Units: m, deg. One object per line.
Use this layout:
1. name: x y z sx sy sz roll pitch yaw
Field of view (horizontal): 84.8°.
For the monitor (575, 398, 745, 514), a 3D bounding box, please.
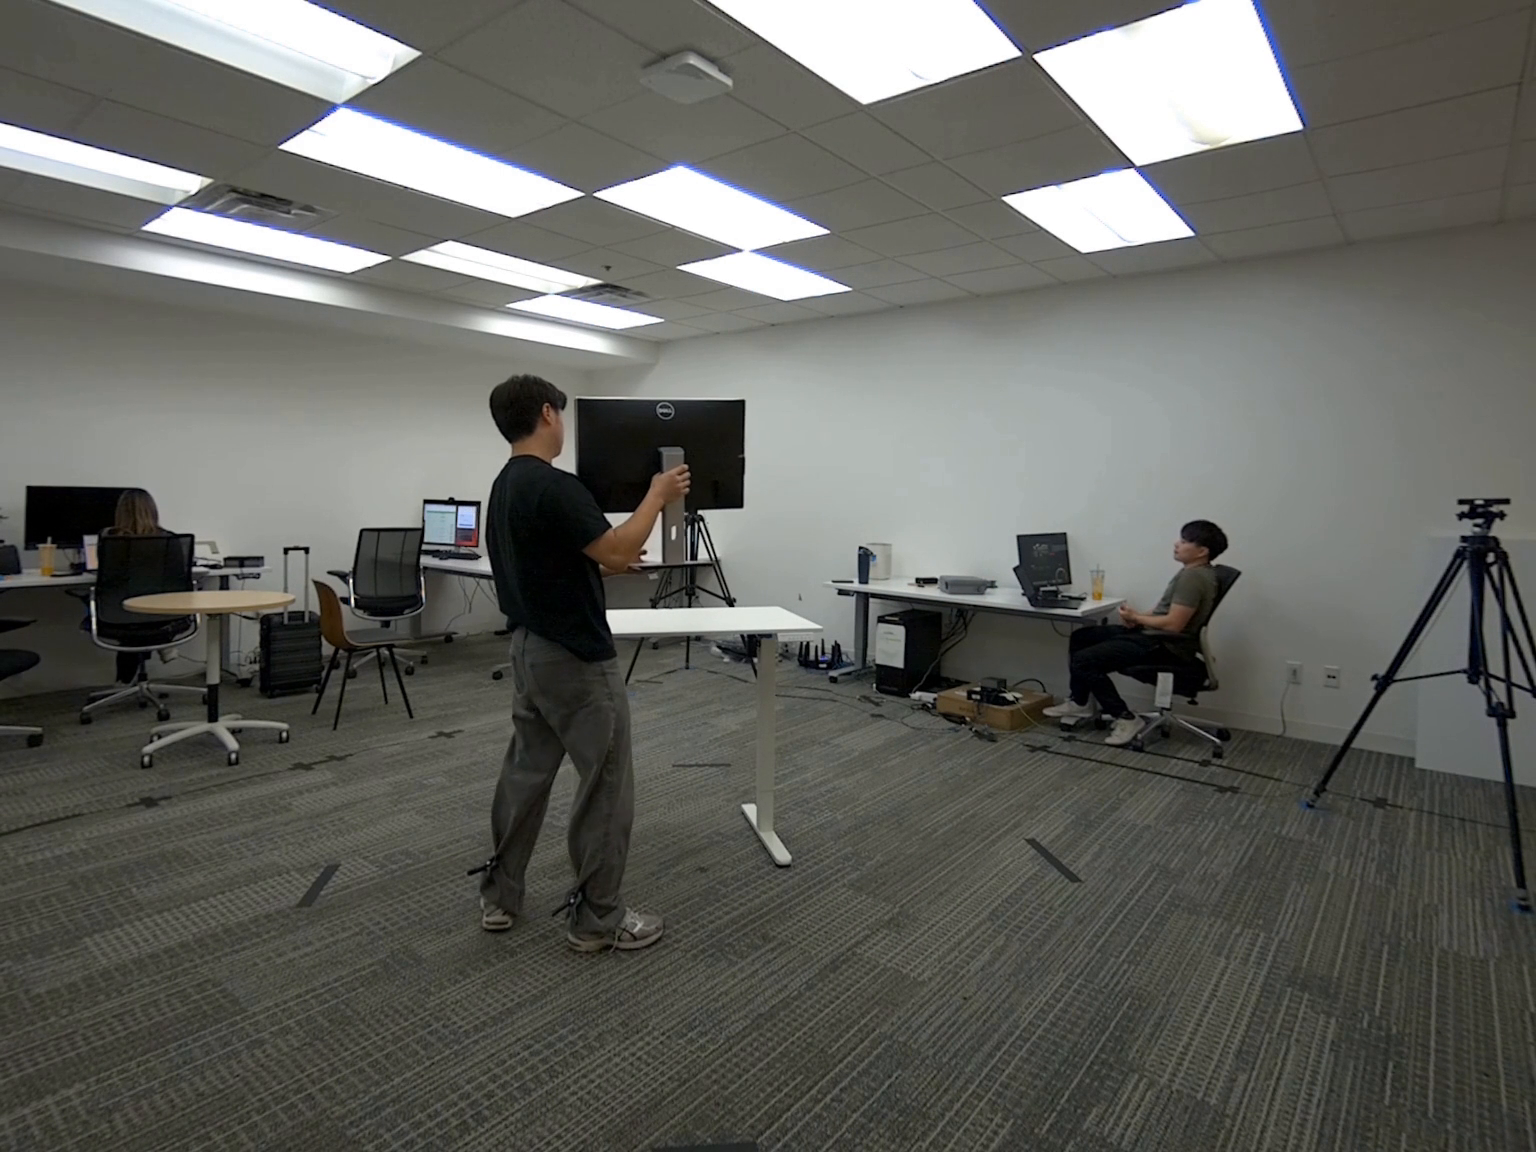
1. monitor: -0.330 -0.285 2.696 0.552 0.568 0.225 -3 -3 -17
